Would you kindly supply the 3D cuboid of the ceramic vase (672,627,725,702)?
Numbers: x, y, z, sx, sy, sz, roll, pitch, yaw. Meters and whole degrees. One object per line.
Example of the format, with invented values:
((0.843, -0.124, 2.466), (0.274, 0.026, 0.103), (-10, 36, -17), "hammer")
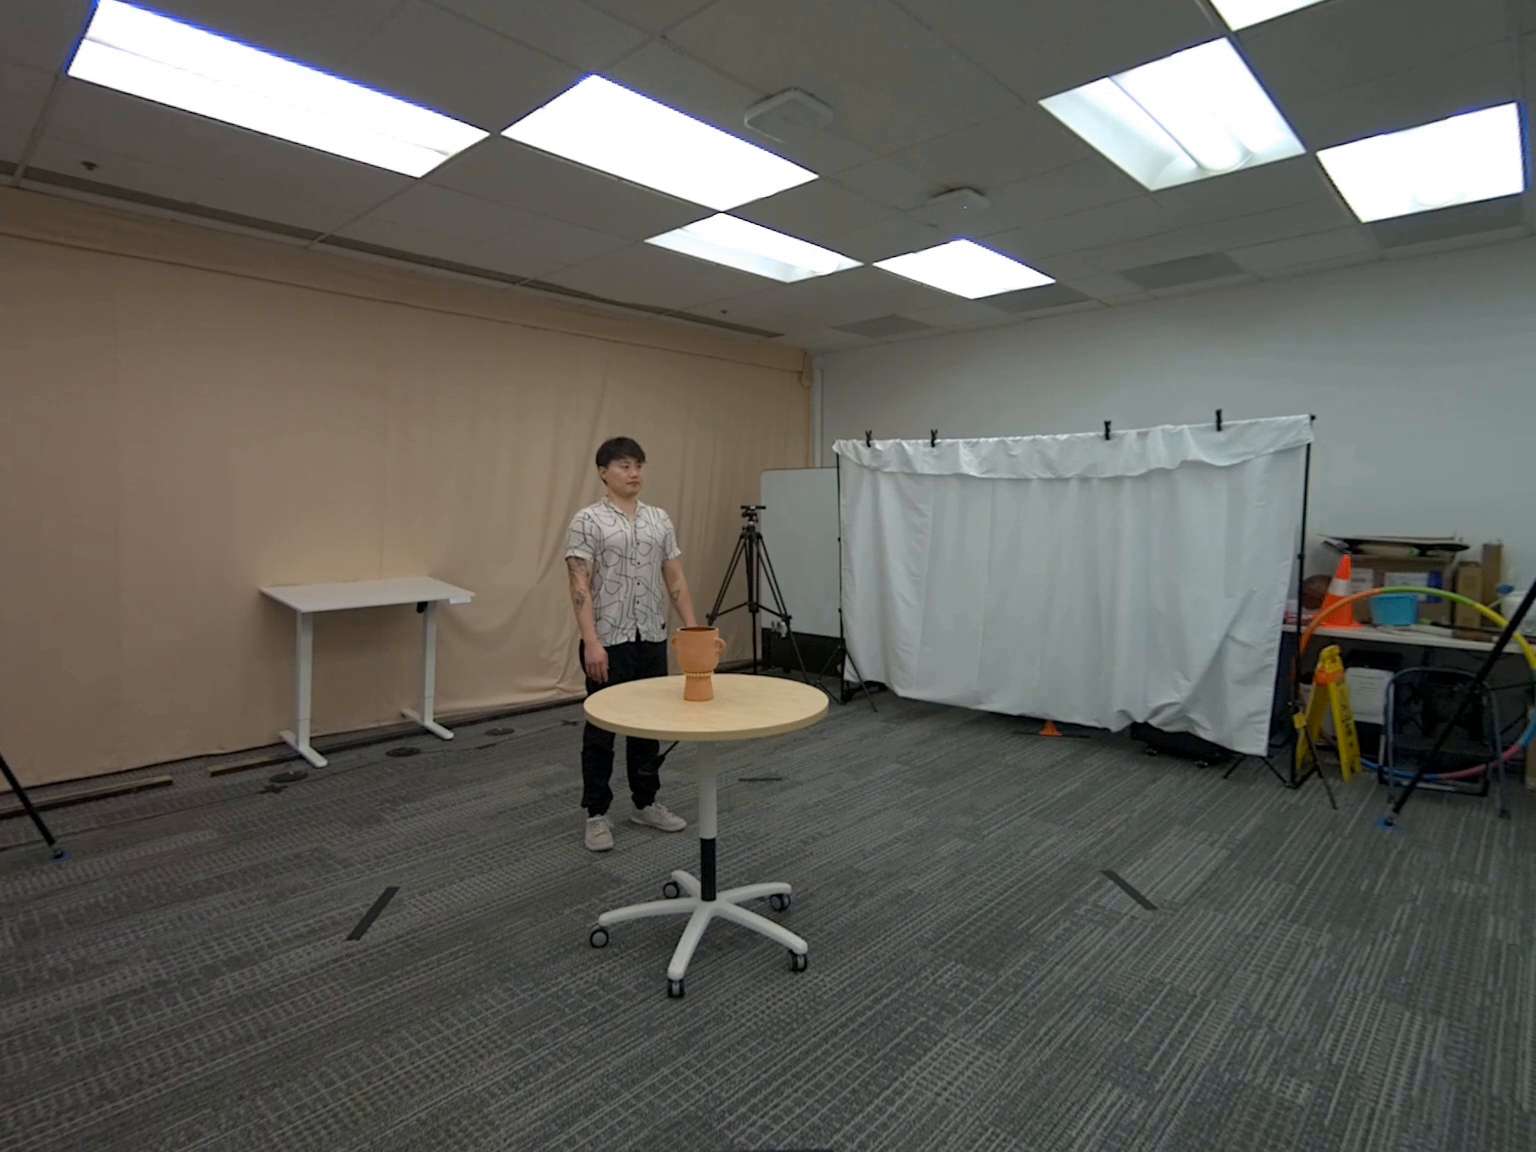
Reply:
((-0.220, 0.280, 2.656), (0.131, 0.219, 0.163), (-3, 3, -25), "ceramic vase")
